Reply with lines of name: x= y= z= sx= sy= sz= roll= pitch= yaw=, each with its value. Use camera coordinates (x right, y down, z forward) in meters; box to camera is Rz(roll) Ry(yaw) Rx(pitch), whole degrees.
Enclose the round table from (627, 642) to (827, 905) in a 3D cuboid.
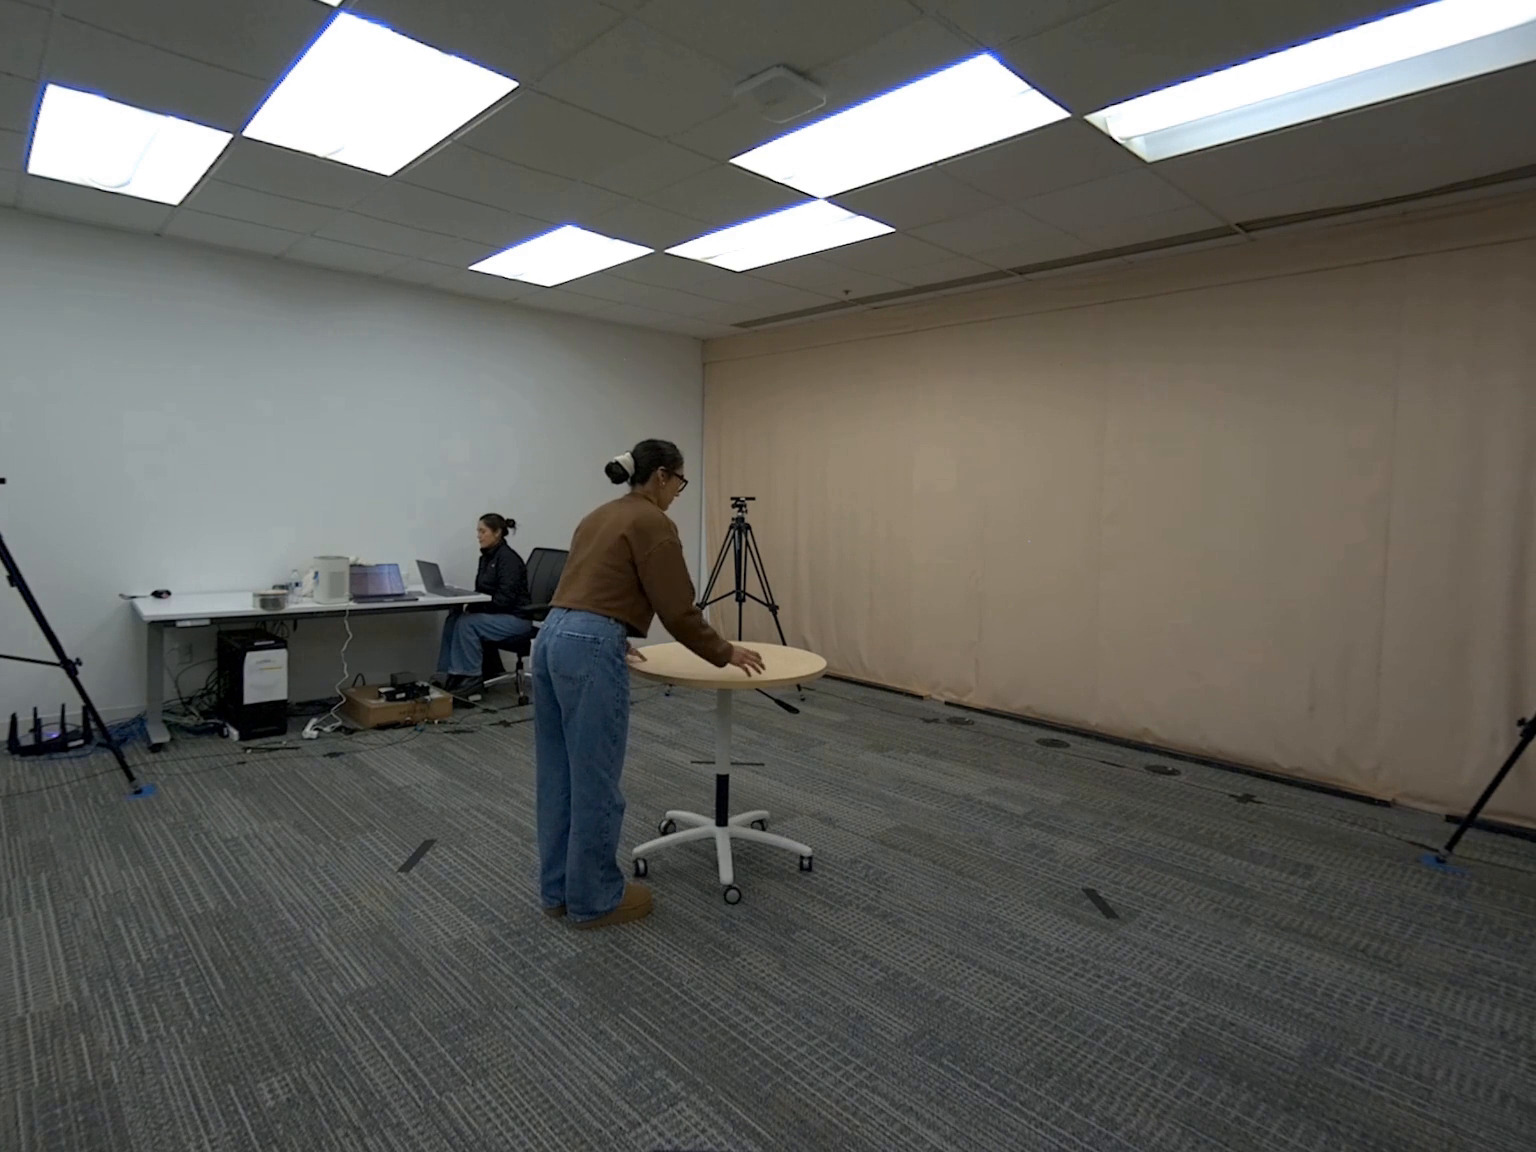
round table: x=-0.181 y=0.706 z=3.215 sx=0.763 sy=0.792 sz=0.767 roll=1 pitch=4 yaw=-1
